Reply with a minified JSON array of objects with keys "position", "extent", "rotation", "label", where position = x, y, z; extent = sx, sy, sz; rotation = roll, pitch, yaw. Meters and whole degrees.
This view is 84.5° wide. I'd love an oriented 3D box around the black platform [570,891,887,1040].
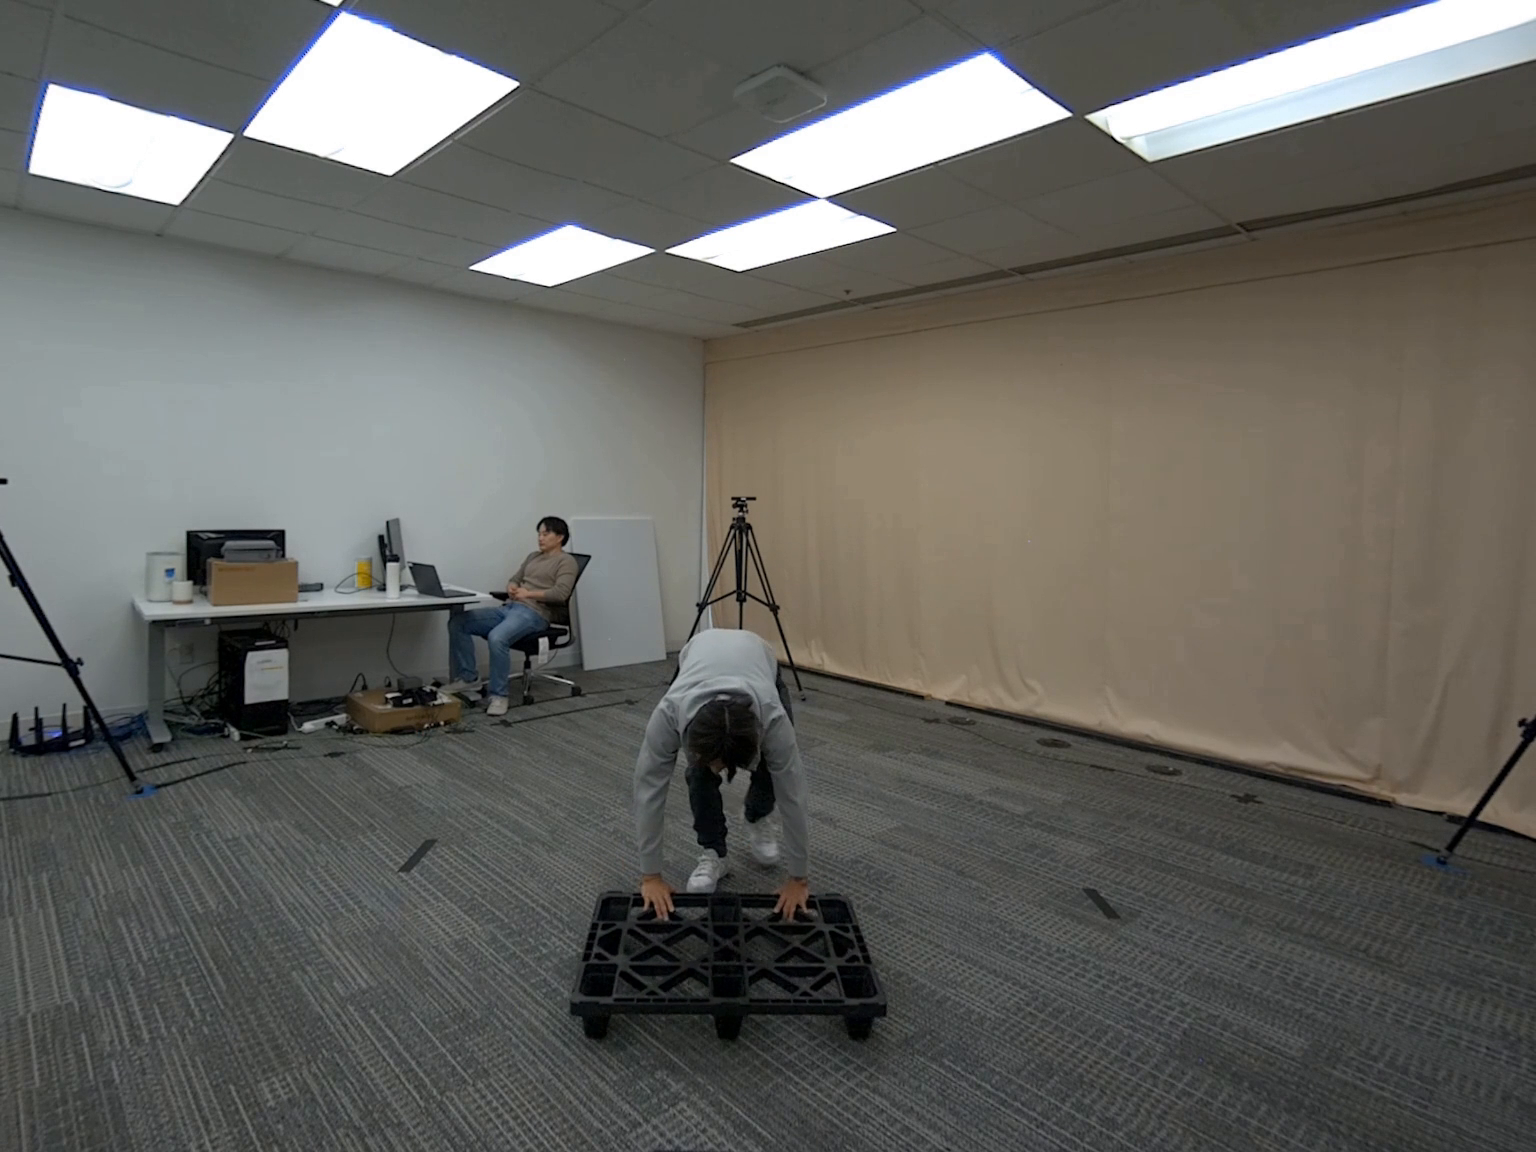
[{"position":[-0.128,1.102,2.390],"extent":[0.804,0.143,0.608],"rotation":[1,6,-2],"label":"black platform"}]
